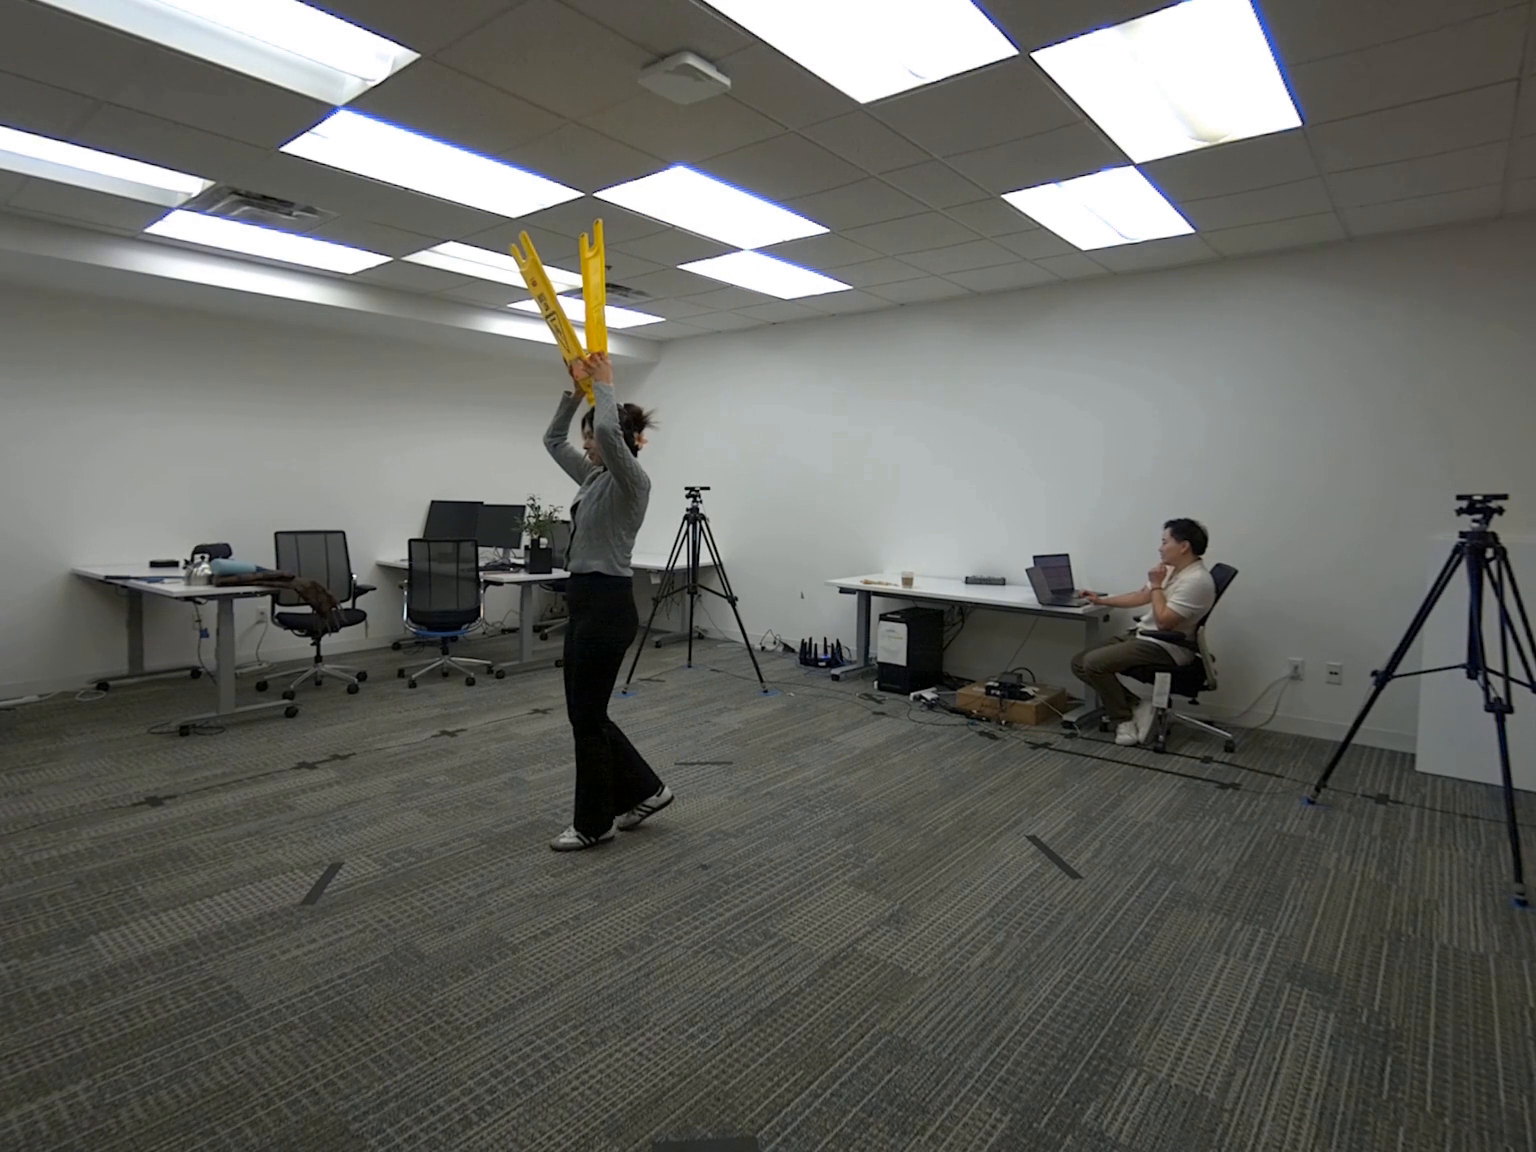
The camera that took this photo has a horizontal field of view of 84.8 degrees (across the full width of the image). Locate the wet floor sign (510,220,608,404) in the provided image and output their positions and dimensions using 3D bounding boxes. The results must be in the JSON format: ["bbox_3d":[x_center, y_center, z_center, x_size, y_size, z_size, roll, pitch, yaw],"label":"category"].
[{"bbox_3d":[-0.727,-0.964,3.199,0.286,0.637,0.290,-19,13,-22],"label":"wet floor sign"}]
